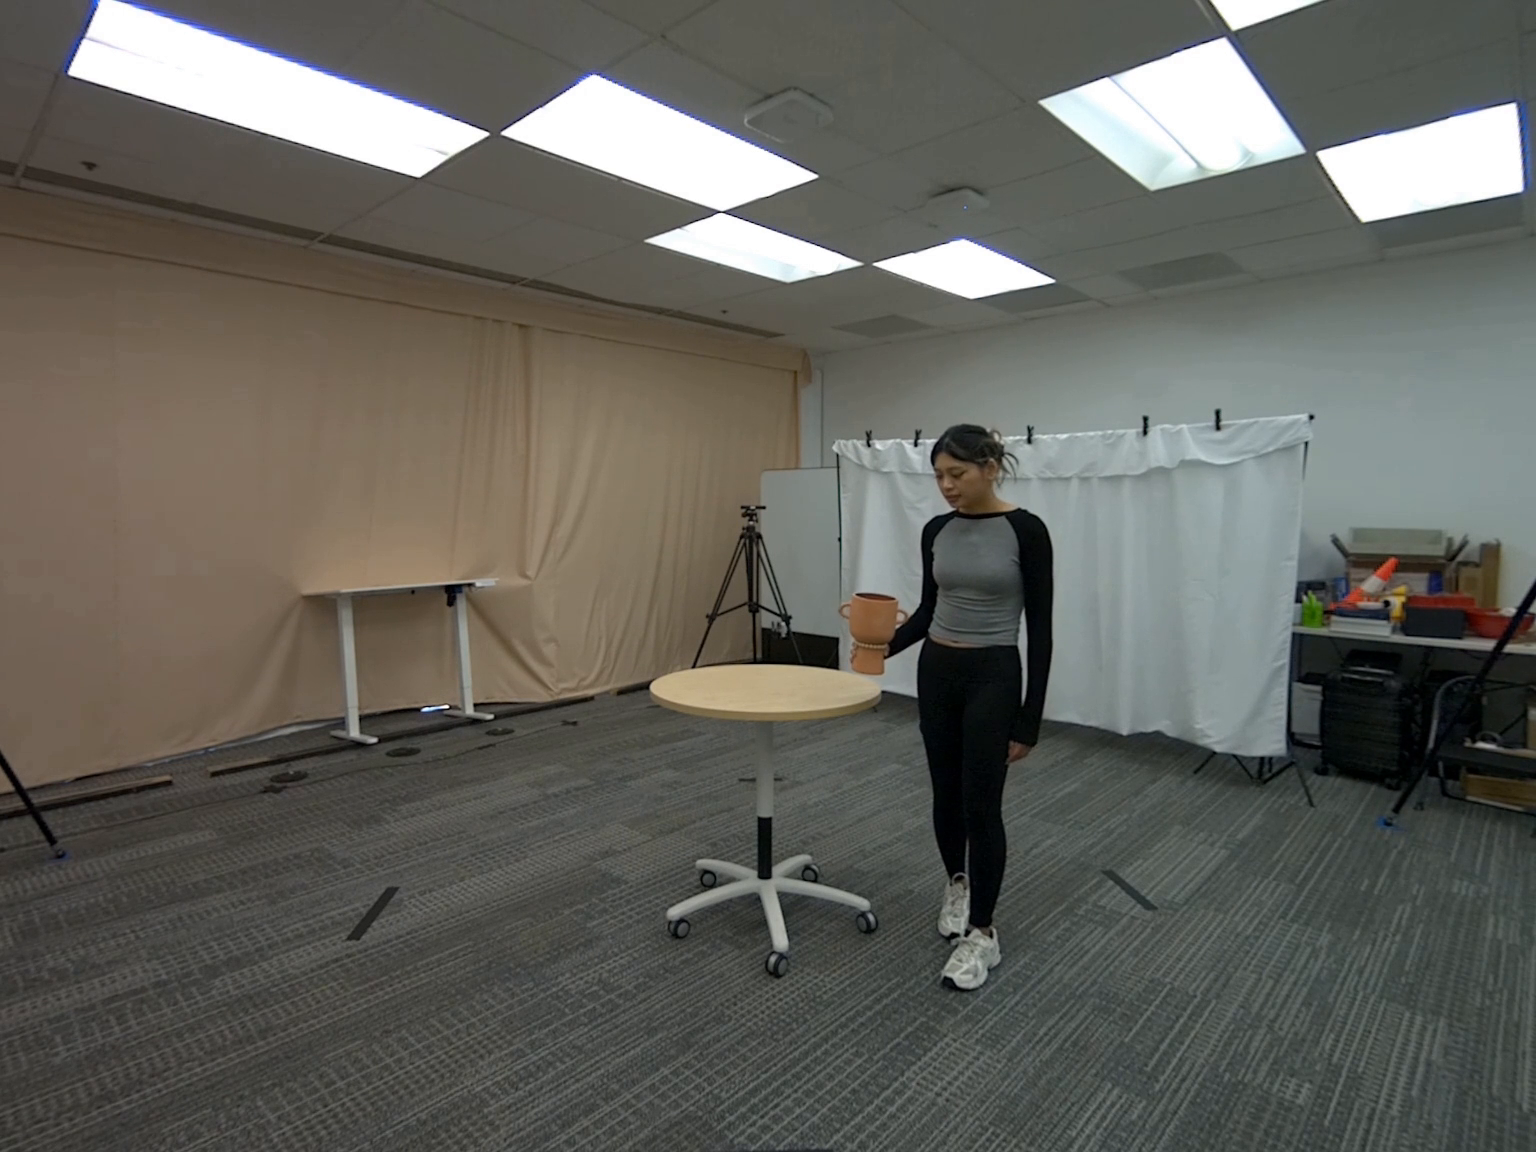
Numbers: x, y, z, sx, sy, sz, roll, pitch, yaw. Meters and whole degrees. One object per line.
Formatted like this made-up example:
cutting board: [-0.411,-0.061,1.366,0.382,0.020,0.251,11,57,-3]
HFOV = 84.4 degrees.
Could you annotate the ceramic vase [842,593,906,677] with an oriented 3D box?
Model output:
ceramic vase: [0.310,0.171,2.447,0.130,0.219,0.164,-2,11,-39]
